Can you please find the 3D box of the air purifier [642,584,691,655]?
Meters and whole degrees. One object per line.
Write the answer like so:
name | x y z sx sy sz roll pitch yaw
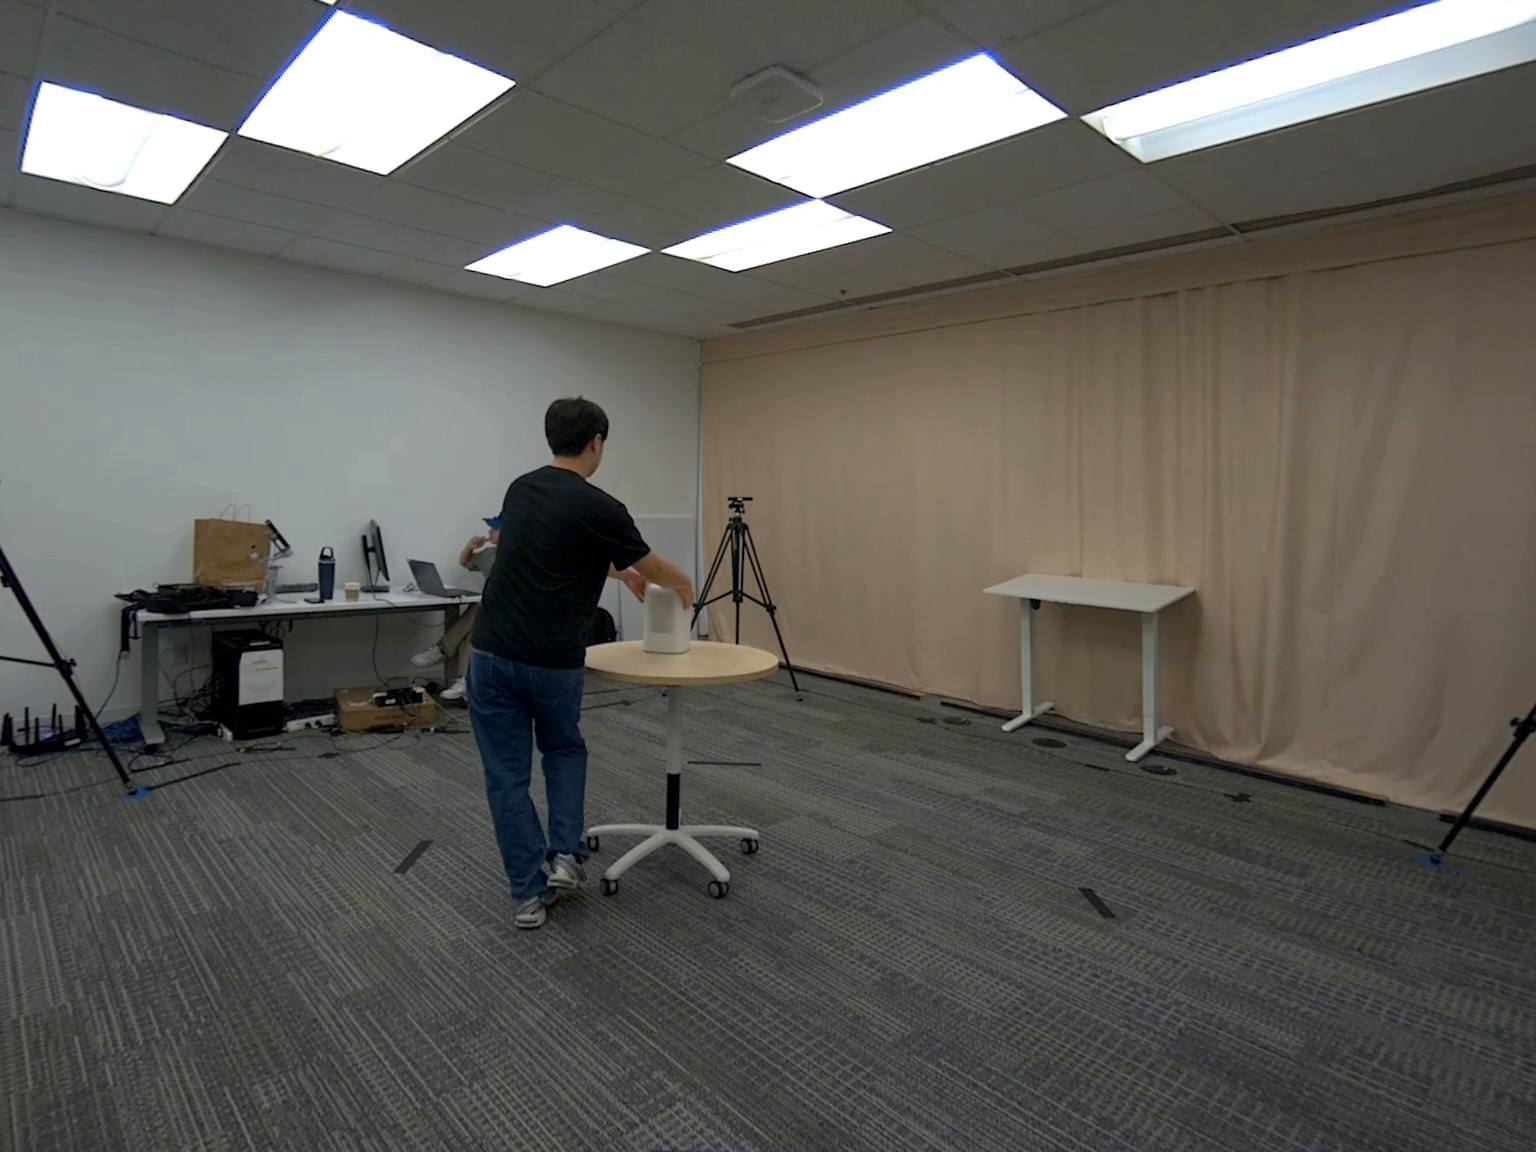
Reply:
air purifier | -0.402 0.159 3.287 0.173 0.265 0.170 2 4 10
